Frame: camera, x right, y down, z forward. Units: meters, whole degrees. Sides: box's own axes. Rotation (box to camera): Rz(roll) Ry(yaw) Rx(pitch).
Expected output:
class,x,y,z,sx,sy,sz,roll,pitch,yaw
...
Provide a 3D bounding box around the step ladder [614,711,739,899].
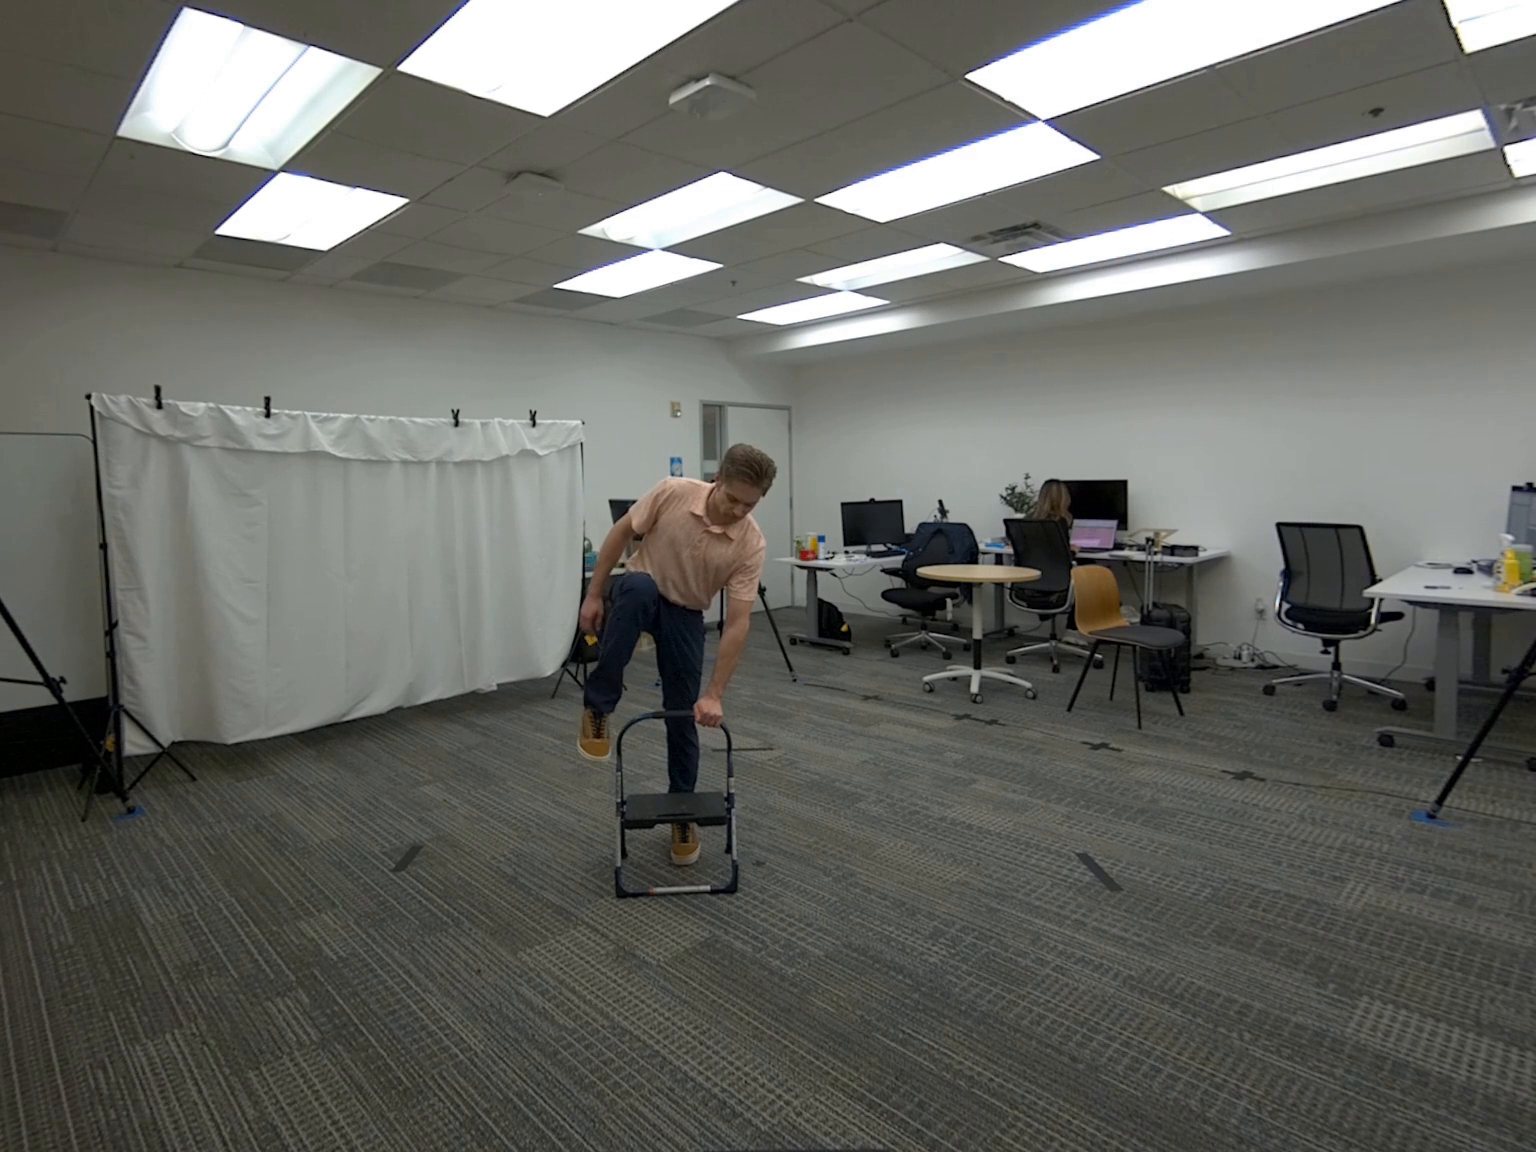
class,x,y,z,sx,sy,sz,roll,pitch,yaw
step ladder,-0.331,0.762,3.025,0.428,0.604,0.352,-2,4,-6
